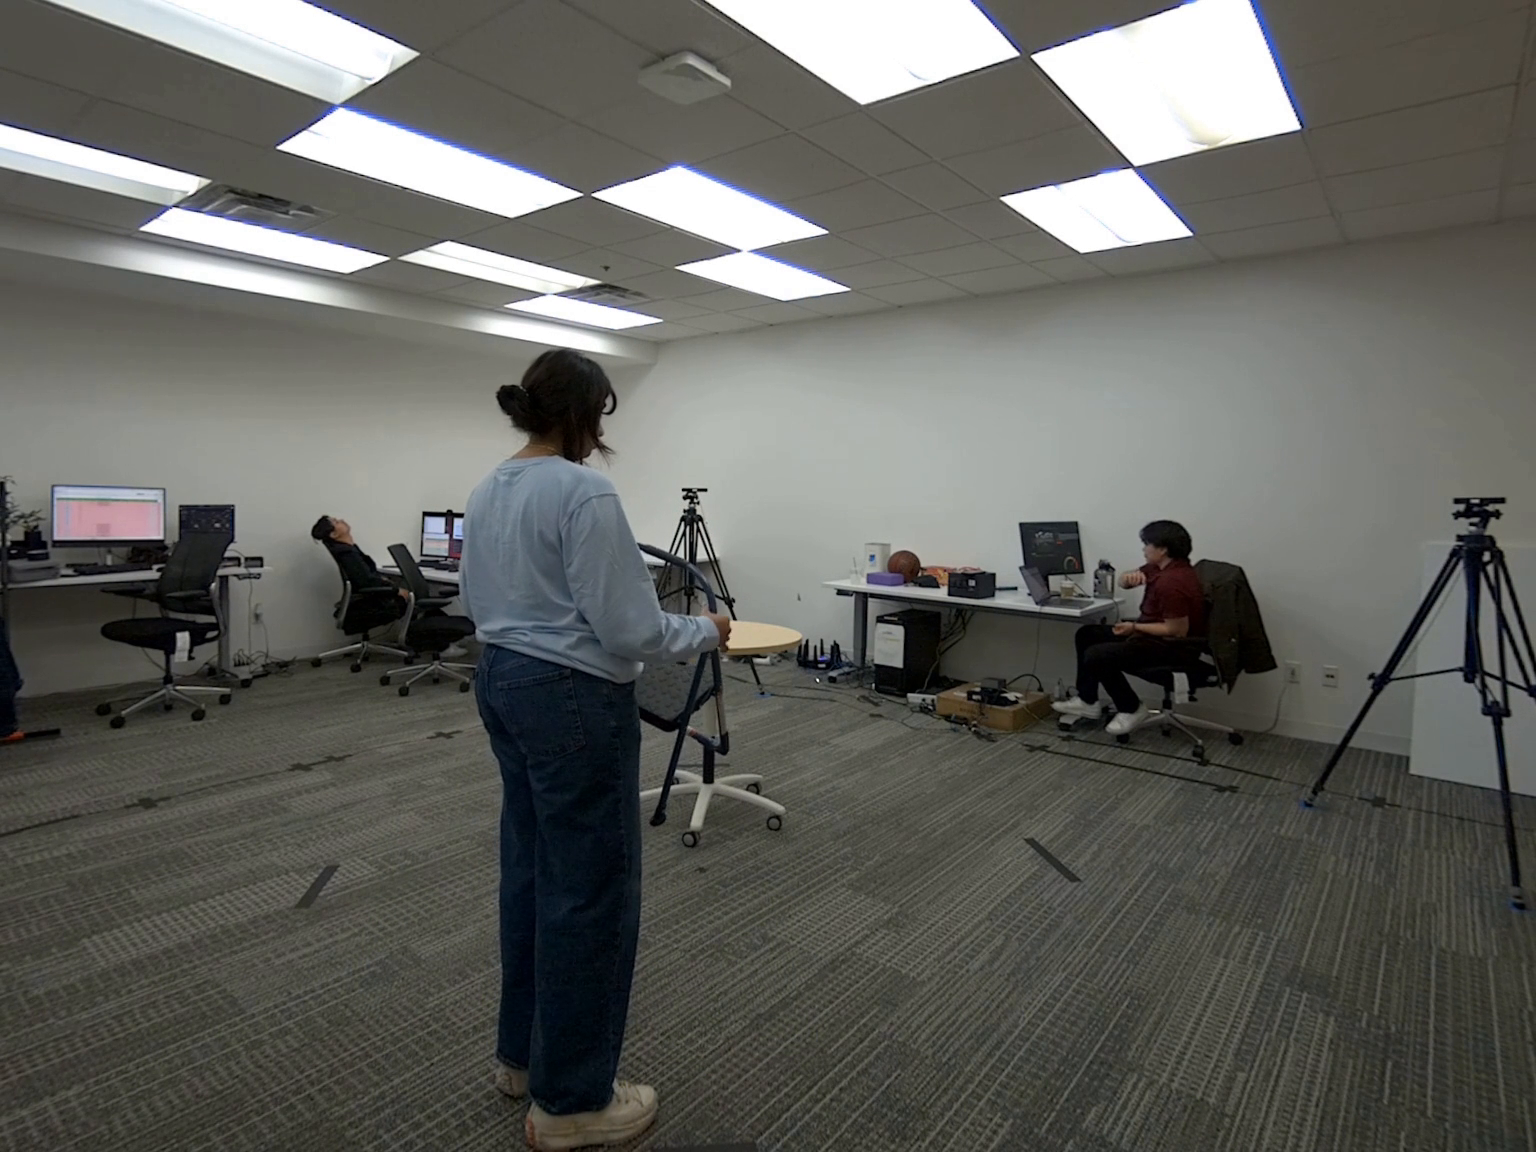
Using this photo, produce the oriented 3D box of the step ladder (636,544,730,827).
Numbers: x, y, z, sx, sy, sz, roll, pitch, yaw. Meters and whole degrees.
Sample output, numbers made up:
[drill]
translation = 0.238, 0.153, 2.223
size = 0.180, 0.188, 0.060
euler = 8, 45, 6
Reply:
[step ladder]
translation = -0.345, 0.234, 2.217
size = 0.445, 0.594, 0.345
euler = 22, 31, 26
